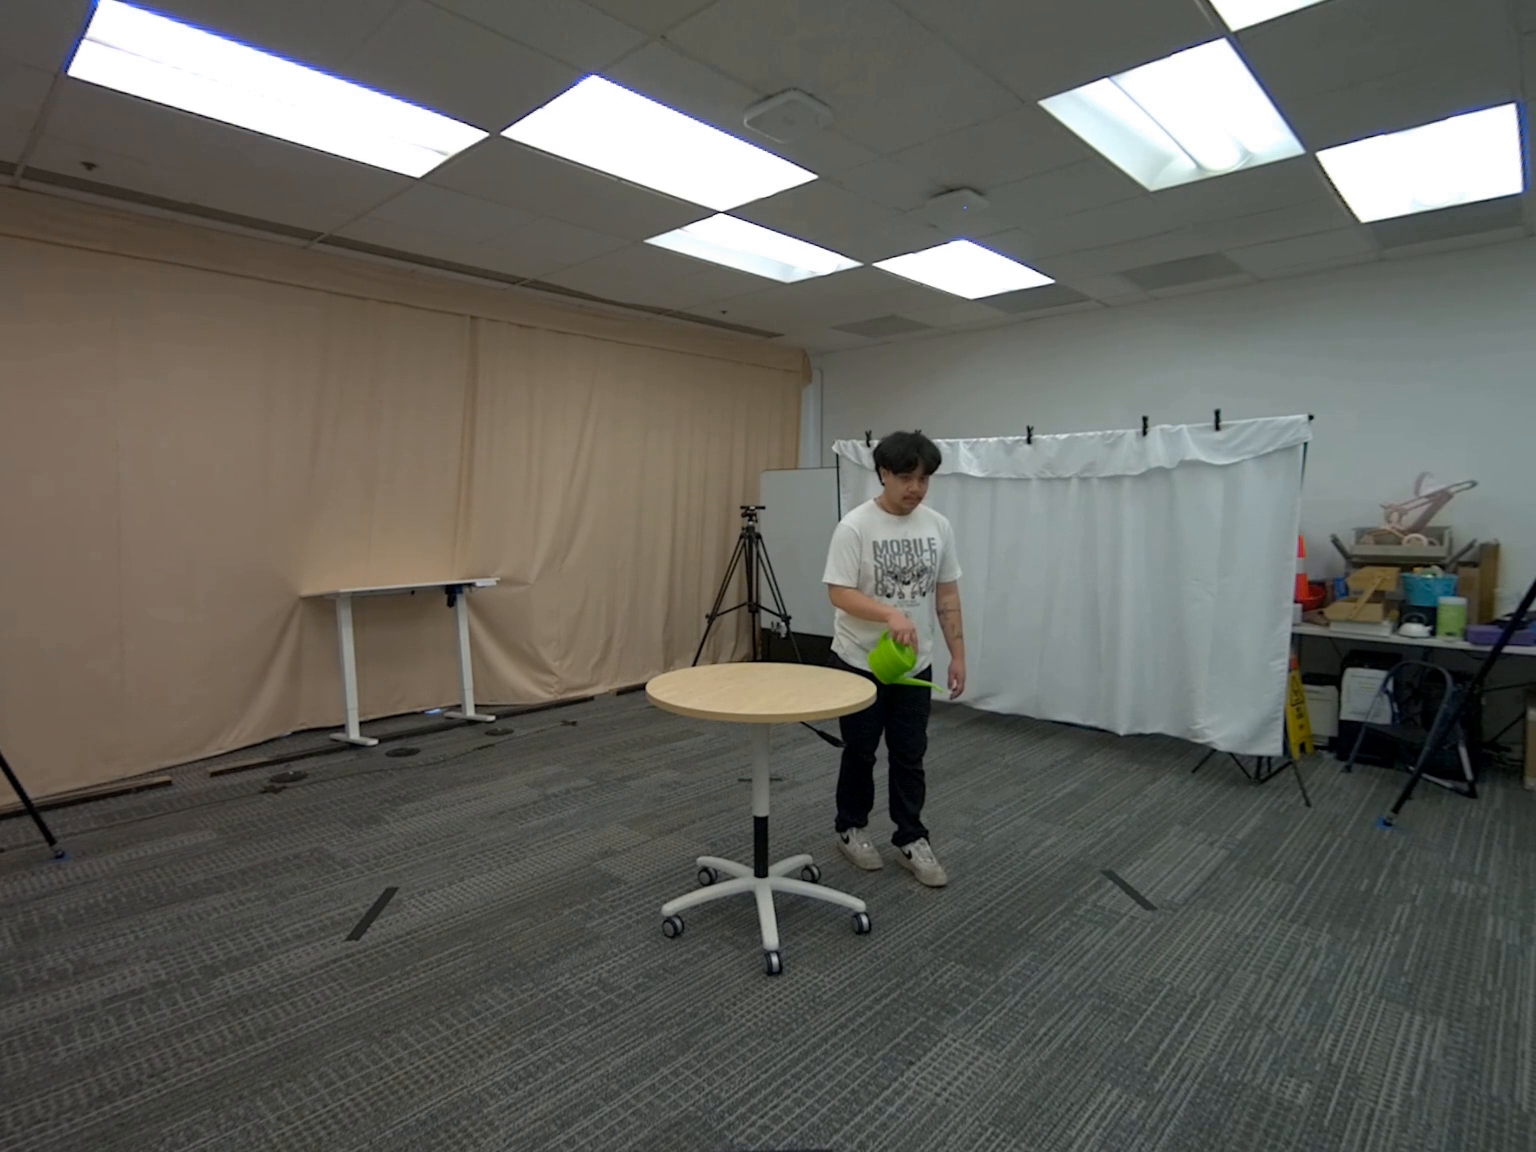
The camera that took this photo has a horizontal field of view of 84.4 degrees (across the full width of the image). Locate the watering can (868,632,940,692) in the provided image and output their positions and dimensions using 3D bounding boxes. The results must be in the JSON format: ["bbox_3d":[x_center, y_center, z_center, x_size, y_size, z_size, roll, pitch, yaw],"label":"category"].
[{"bbox_3d":[0.466,0.322,2.936,0.095,0.285,0.178,3,-36,-39],"label":"watering can"}]
